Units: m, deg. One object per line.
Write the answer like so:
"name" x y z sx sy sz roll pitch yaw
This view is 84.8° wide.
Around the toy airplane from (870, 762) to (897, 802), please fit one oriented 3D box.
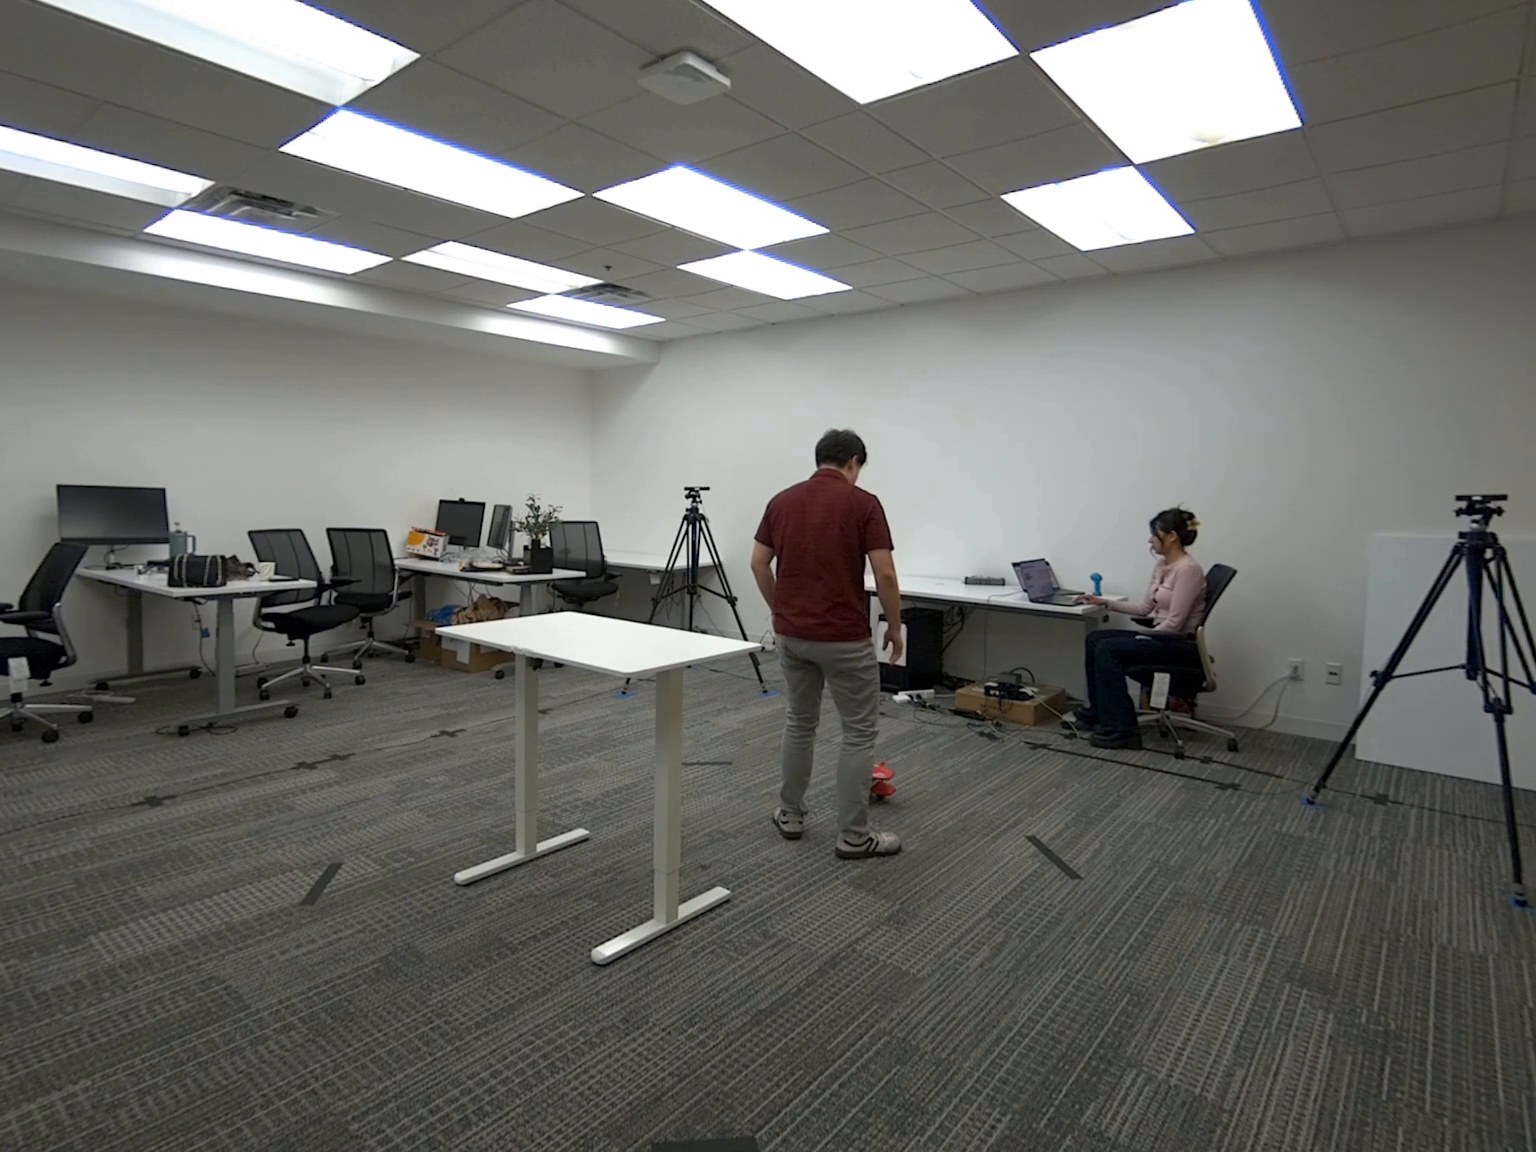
"toy airplane" 0.437 0.928 3.810 0.254 0.156 0.256 1 4 11
